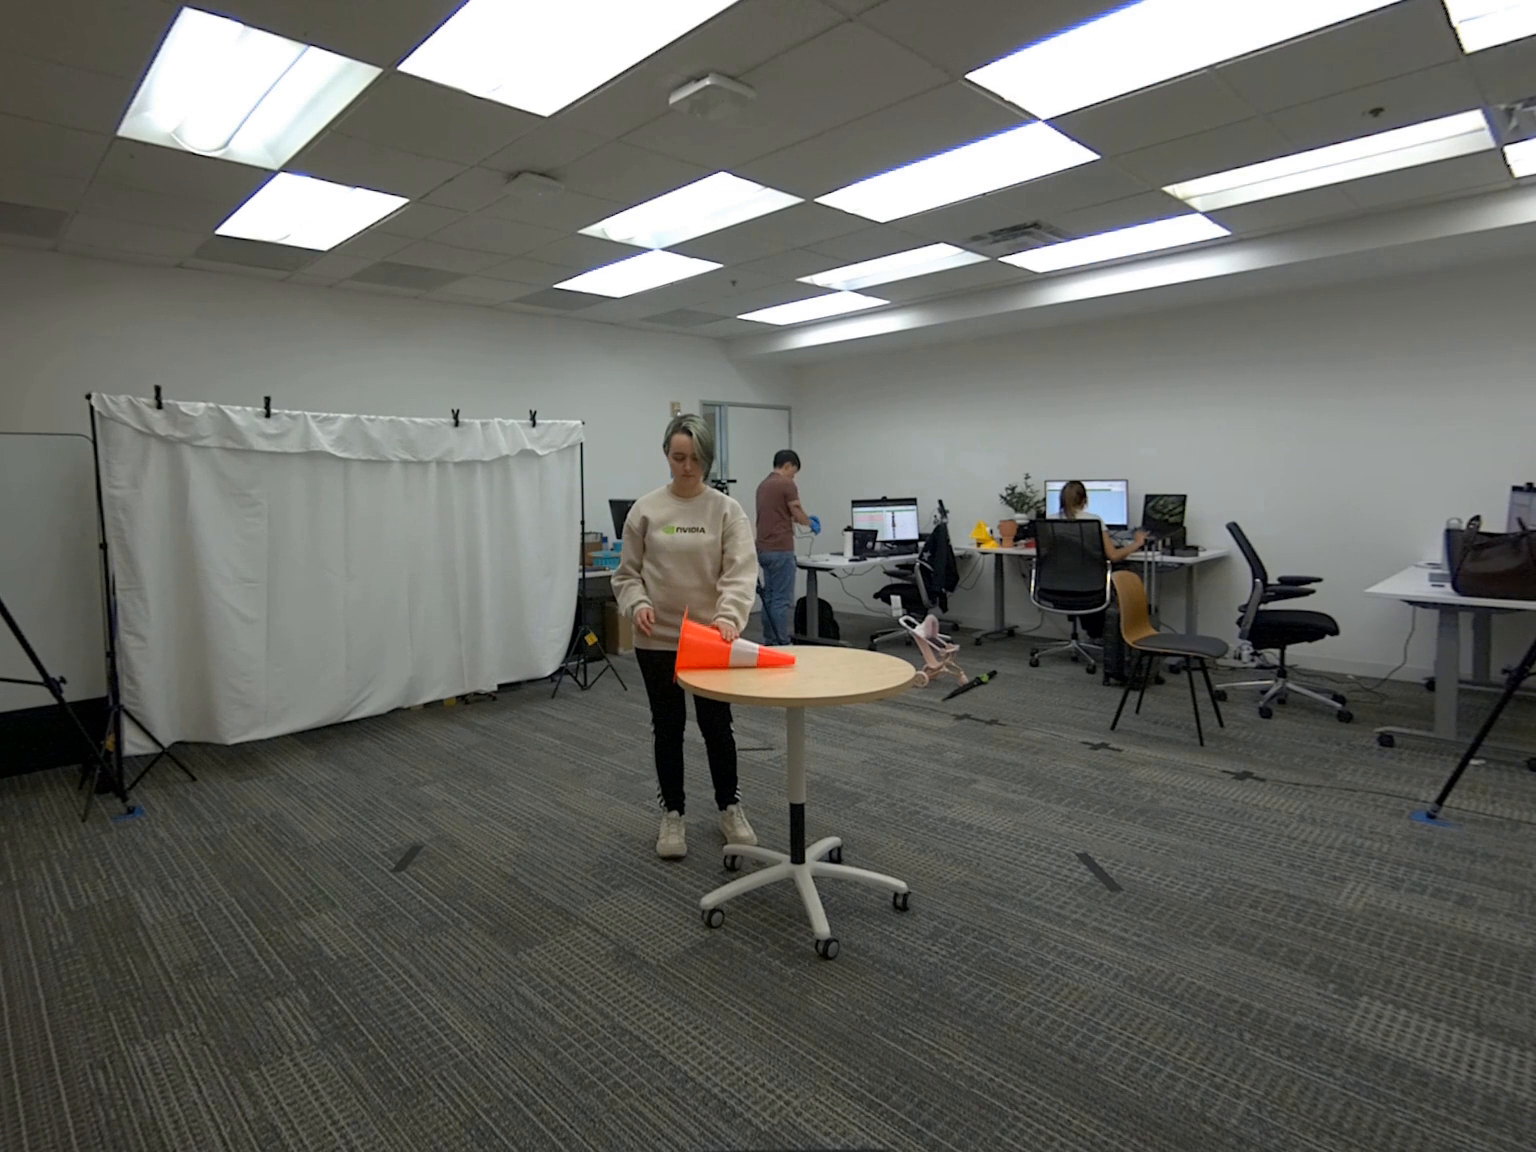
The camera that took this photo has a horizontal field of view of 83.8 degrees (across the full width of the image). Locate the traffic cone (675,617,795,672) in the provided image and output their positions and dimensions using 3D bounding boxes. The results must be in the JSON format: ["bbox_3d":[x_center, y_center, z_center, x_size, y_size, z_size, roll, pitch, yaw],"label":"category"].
[{"bbox_3d":[-0.100,0.261,2.809,0.385,0.200,0.207,10,21,3],"label":"traffic cone"}]
